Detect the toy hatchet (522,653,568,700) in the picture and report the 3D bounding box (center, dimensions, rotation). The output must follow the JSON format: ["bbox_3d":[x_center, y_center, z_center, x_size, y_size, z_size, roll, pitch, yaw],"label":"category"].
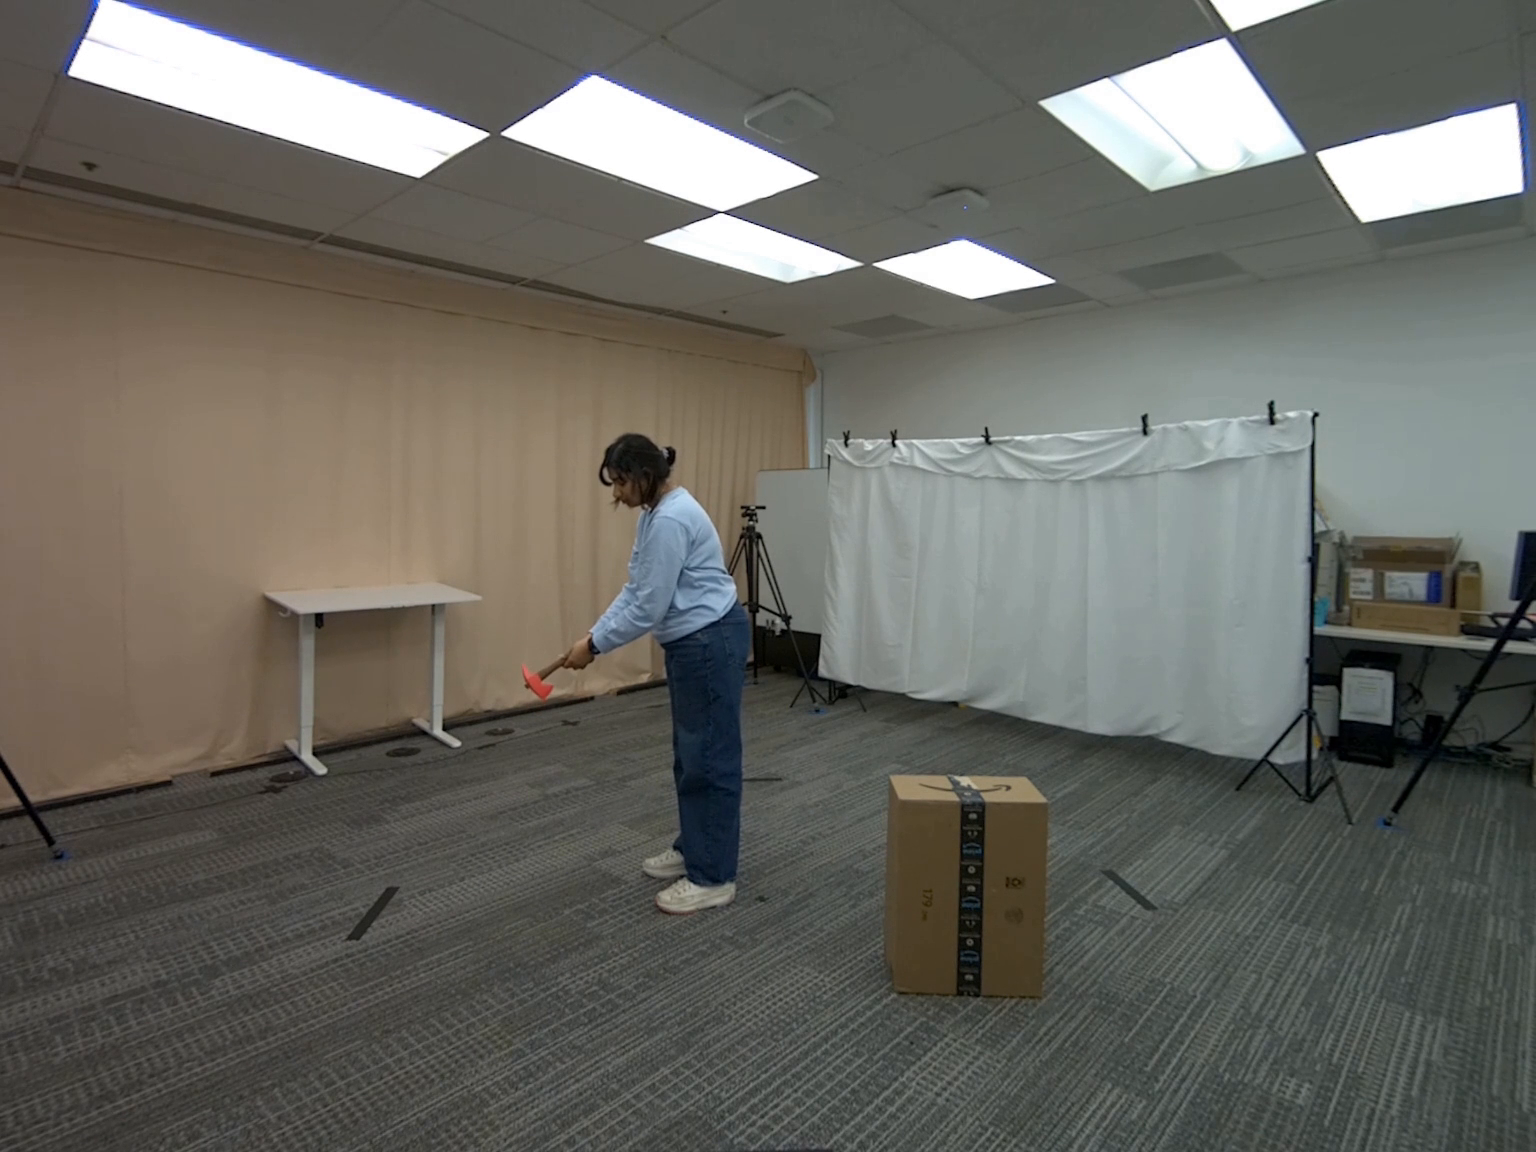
[{"bbox_3d":[-0.717,0.351,2.958,0.265,0.132,0.030,-13,-12,-24],"label":"toy hatchet"}]
